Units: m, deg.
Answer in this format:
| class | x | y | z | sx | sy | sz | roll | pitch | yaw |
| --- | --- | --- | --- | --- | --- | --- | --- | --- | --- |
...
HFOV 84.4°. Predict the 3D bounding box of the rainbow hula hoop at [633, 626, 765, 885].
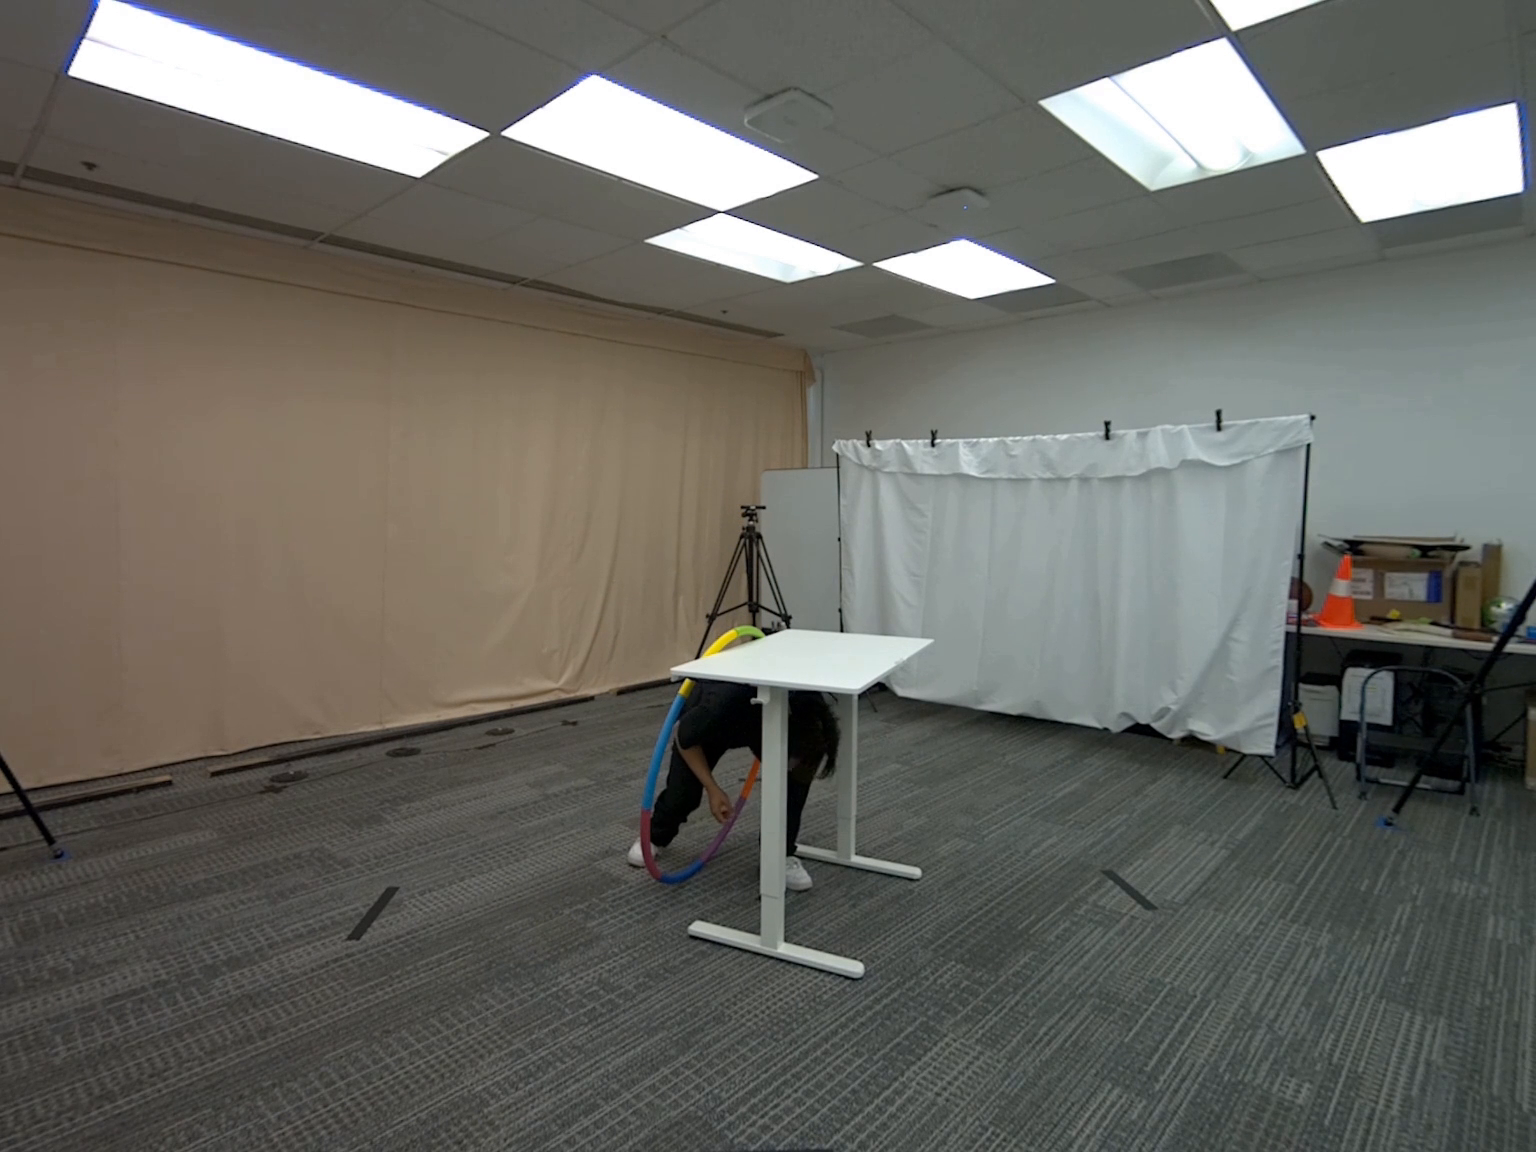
| class | x | y | z | sx | sy | sz | roll | pitch | yaw |
| --- | --- | --- | --- | --- | --- | --- | --- | --- | --- |
| rainbow hula hoop | -0.192 | 0.657 | 3.135 | 0.036 | 0.975 | 0.956 | 14 | 9 | 22 |
